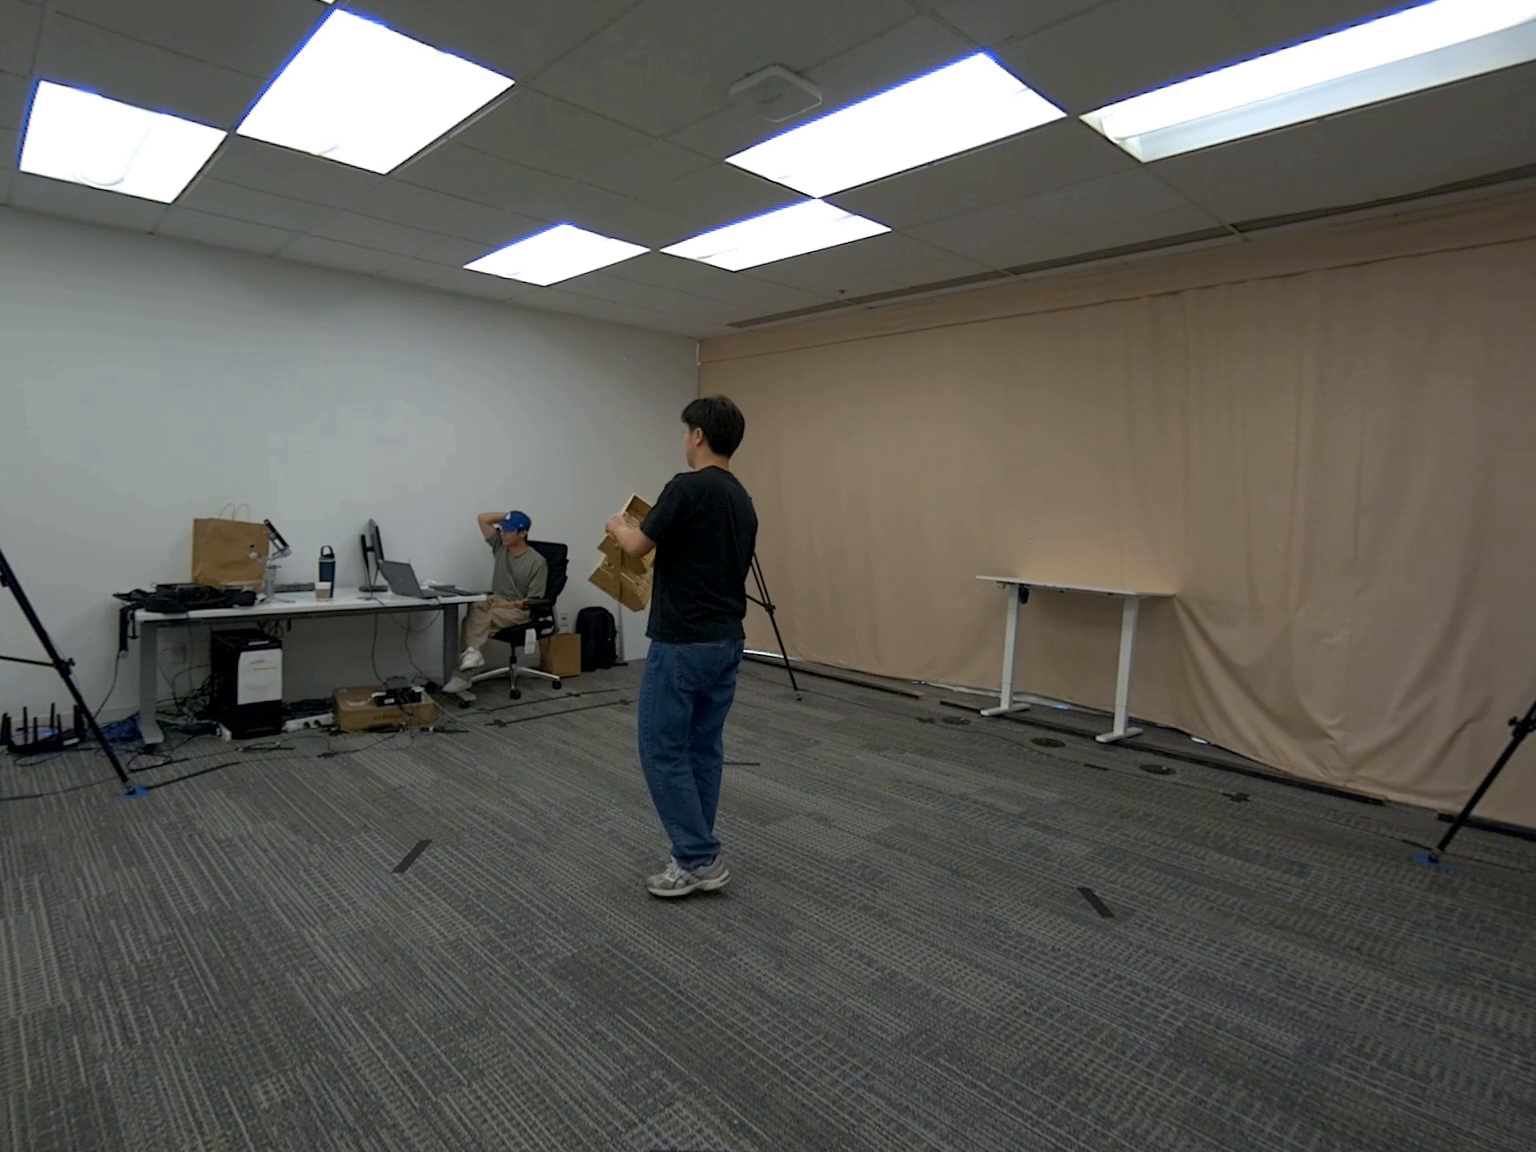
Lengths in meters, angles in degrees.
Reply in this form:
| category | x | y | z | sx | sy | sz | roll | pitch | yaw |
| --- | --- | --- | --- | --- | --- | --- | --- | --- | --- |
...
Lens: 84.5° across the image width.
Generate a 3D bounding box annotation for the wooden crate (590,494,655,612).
| category | x | y | z | sx | sy | sz | roll | pitch | yaw |
| --- | --- | --- | --- | --- | --- | --- | --- | --- | --- |
| wooden crate | -0.522 | -0.093 | 3.389 | 0.298 | 0.273 | 0.328 | 36 | 38 | -12 |
